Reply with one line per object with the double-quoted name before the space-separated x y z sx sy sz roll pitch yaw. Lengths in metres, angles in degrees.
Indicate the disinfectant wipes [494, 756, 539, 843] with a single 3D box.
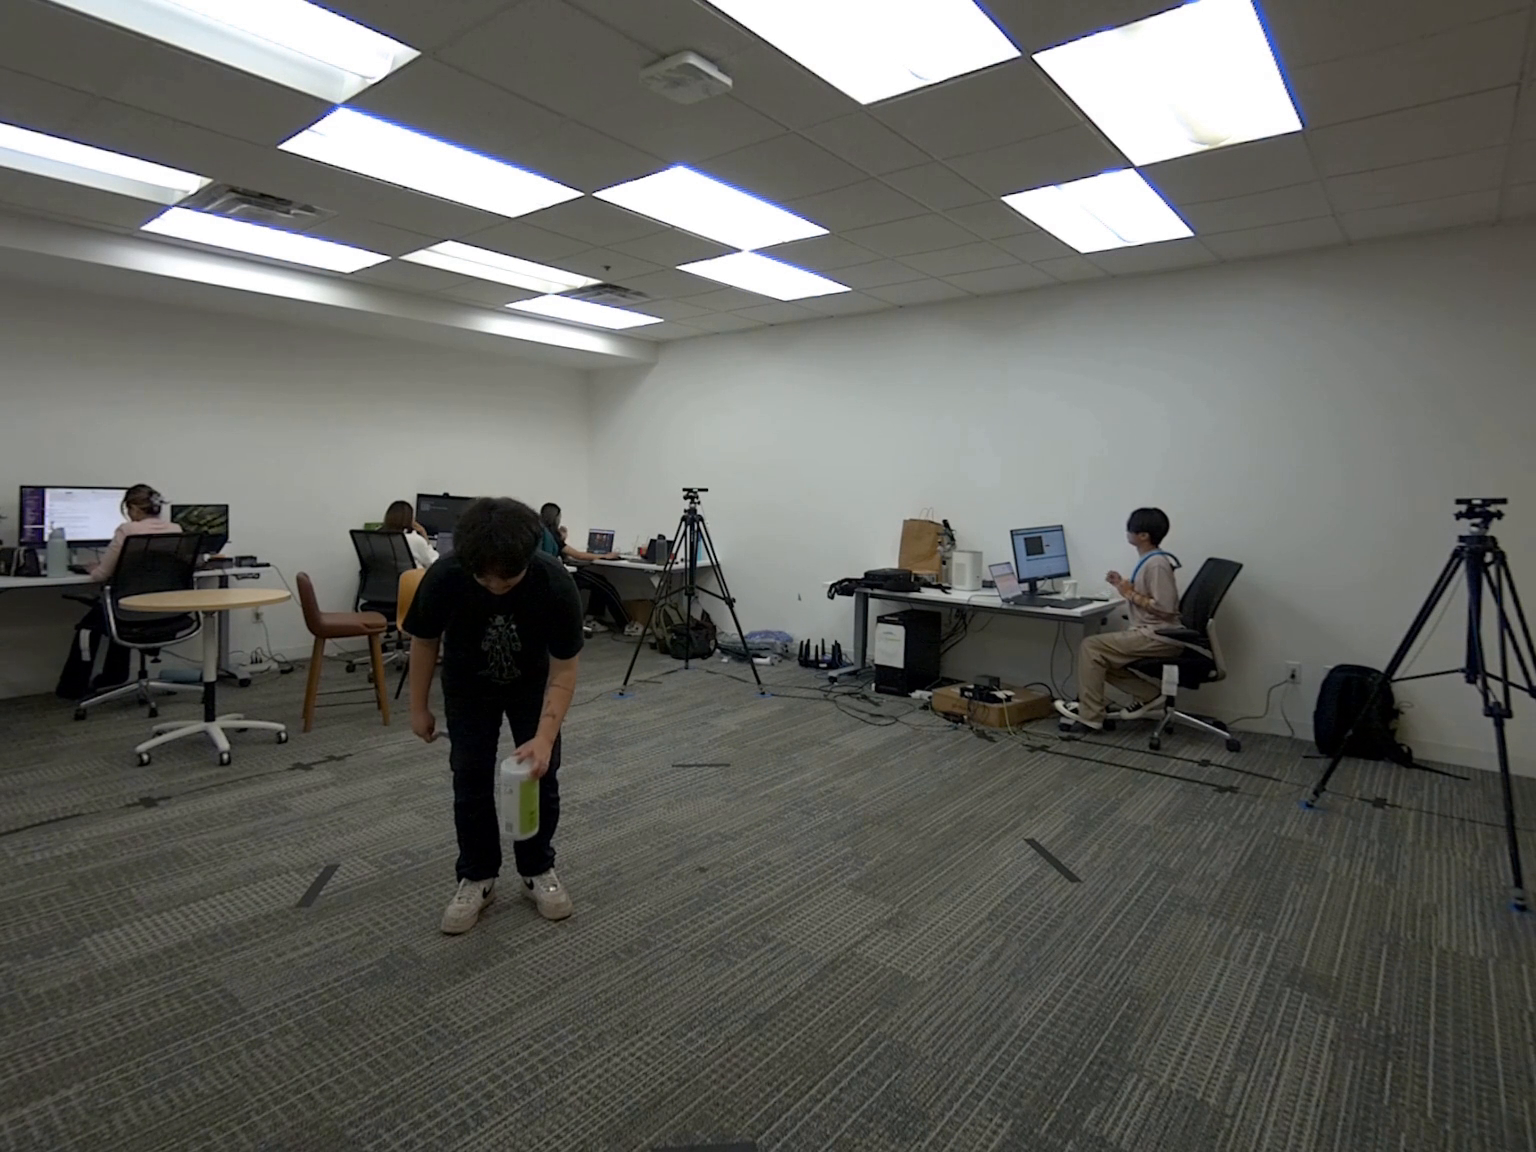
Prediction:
"disinfectant wipes" -0.728 0.642 2.460 0.117 0.215 0.119 2 13 -2
